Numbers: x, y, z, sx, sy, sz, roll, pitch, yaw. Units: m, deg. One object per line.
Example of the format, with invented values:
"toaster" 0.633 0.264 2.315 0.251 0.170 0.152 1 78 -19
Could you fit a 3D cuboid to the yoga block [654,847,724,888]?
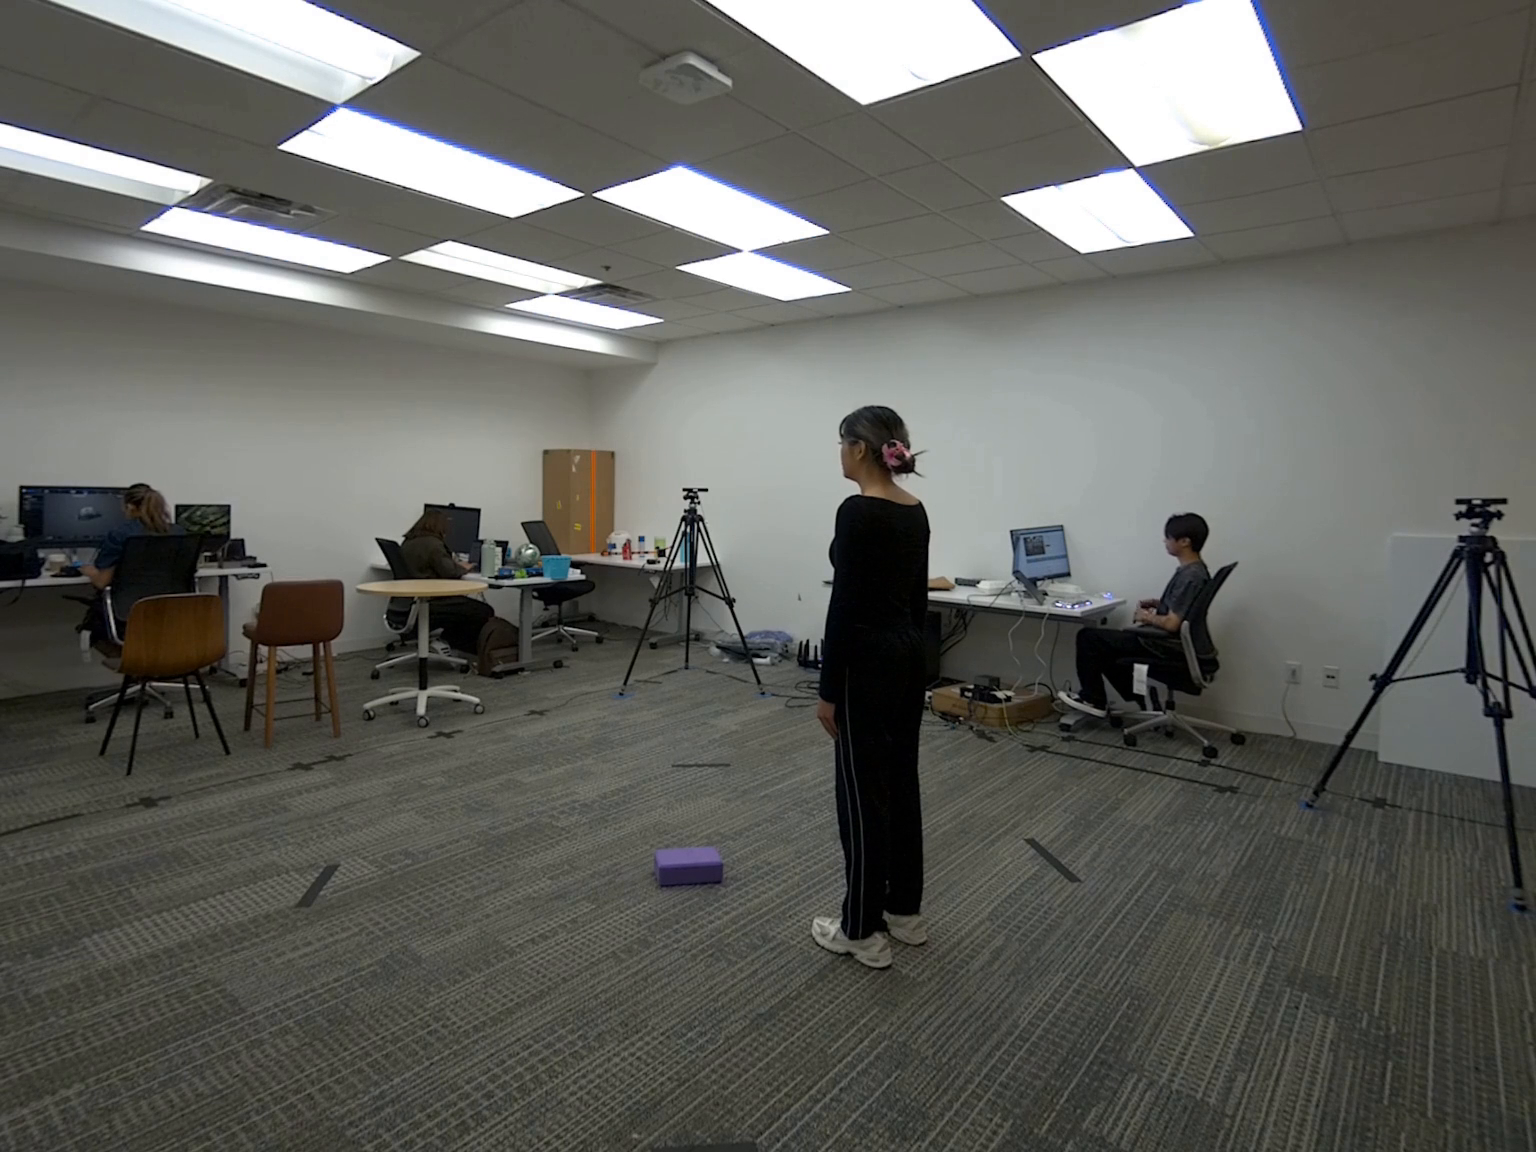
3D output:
"yoga block" -0.296 1.034 3.048 0.226 0.076 0.151 -1 5 -12
